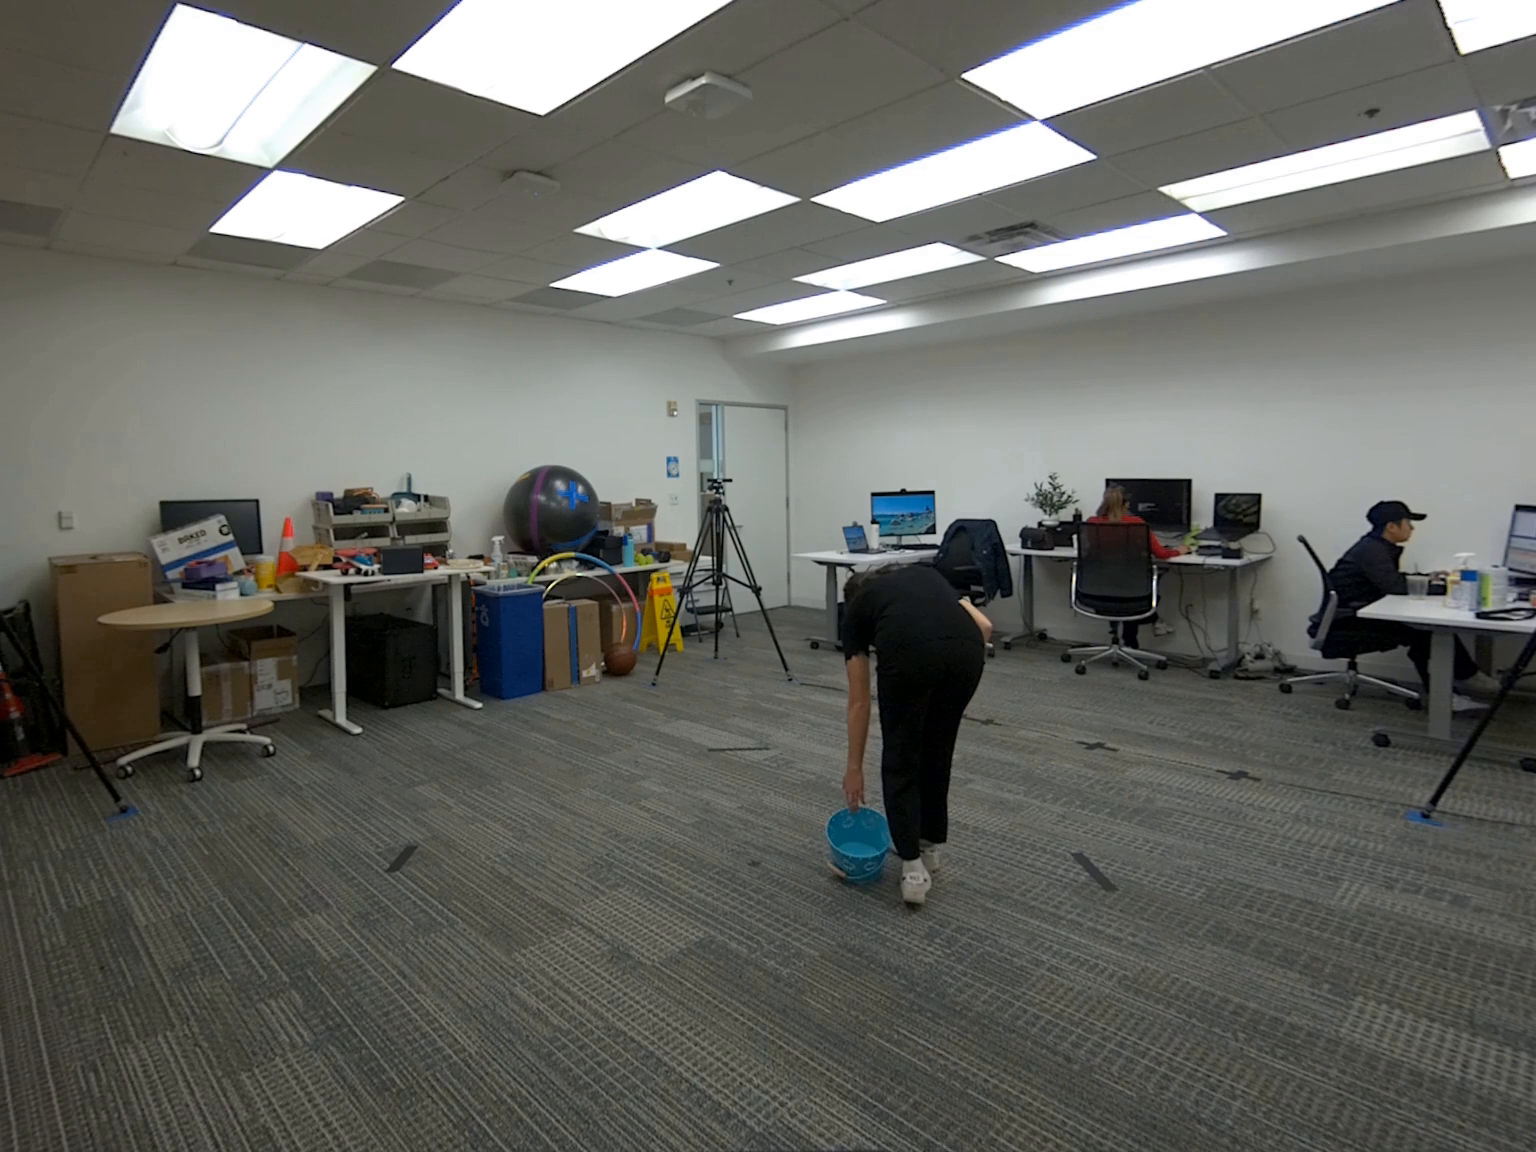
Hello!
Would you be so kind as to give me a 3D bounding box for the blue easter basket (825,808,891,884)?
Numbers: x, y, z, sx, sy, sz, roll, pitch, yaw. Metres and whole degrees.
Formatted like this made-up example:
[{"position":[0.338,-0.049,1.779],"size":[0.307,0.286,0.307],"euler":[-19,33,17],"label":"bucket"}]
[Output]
[{"position":[0.319,0.953,2.984],"size":[0.243,0.152,0.249],"euler":[-2,28,-1],"label":"blue easter basket"}]
